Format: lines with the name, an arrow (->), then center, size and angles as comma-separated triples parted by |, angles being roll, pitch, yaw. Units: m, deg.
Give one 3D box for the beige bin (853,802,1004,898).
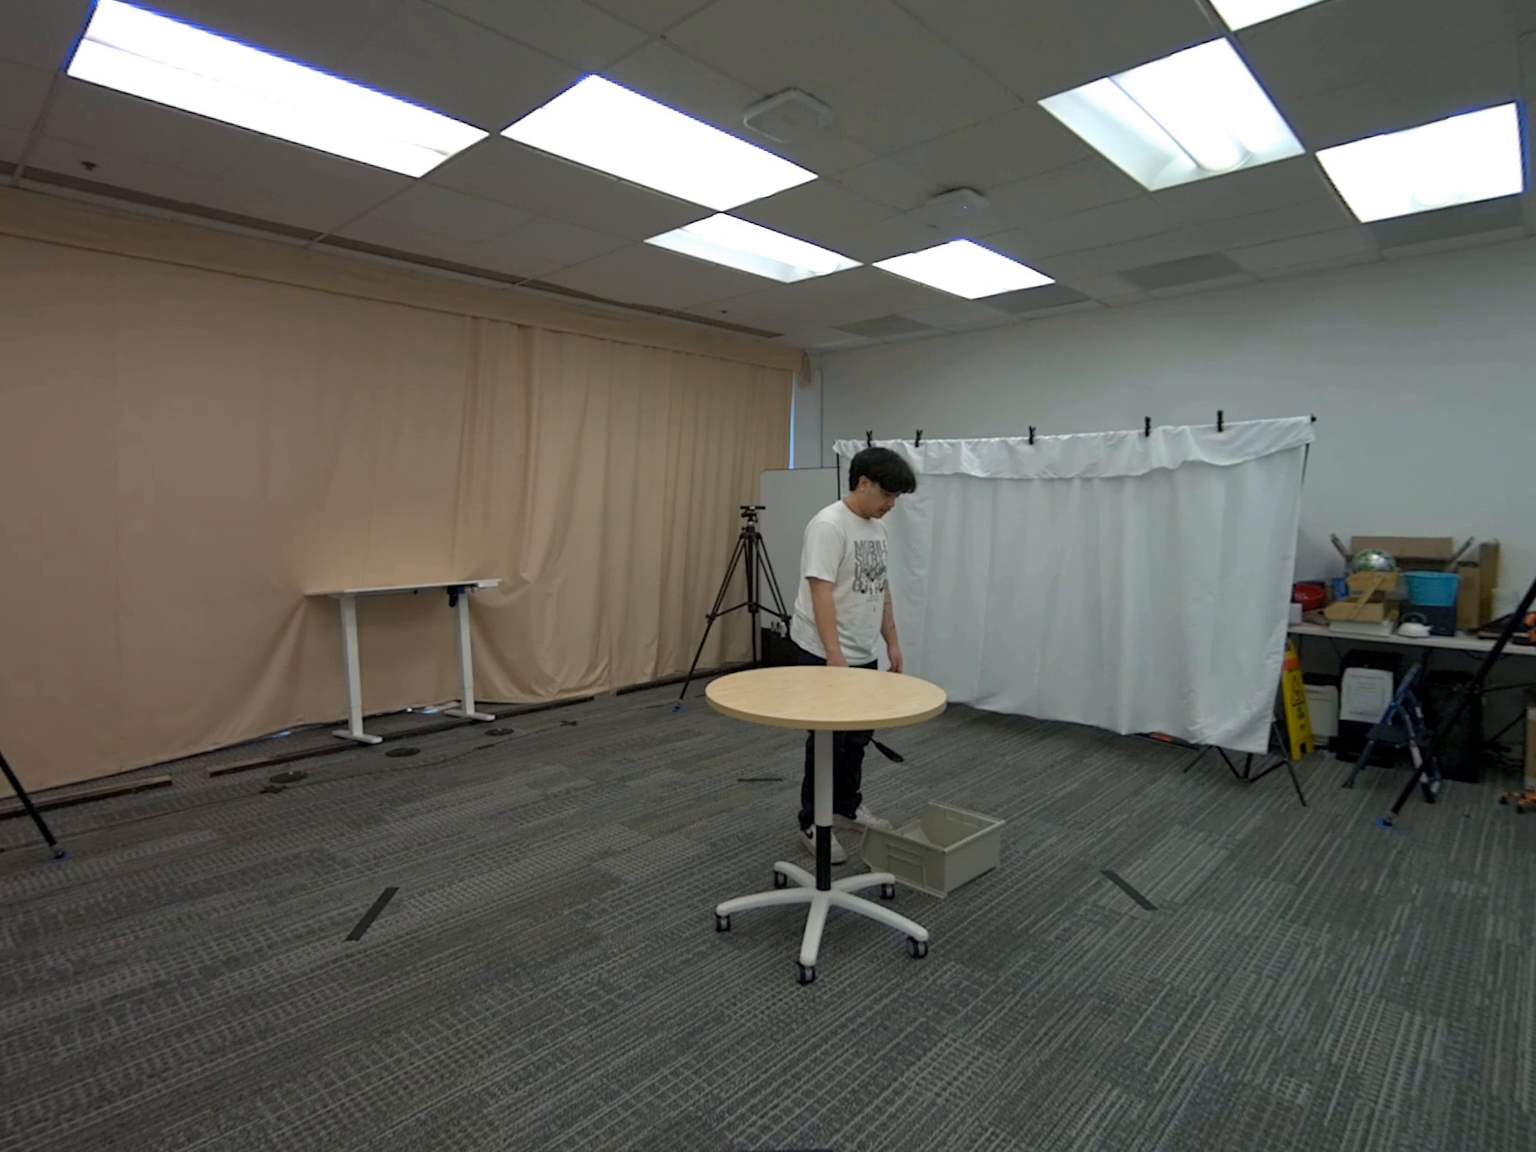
beige bin -> 0.637, 1.033, 3.236 | 0.390, 0.188, 0.409 | 6, 7, 45
